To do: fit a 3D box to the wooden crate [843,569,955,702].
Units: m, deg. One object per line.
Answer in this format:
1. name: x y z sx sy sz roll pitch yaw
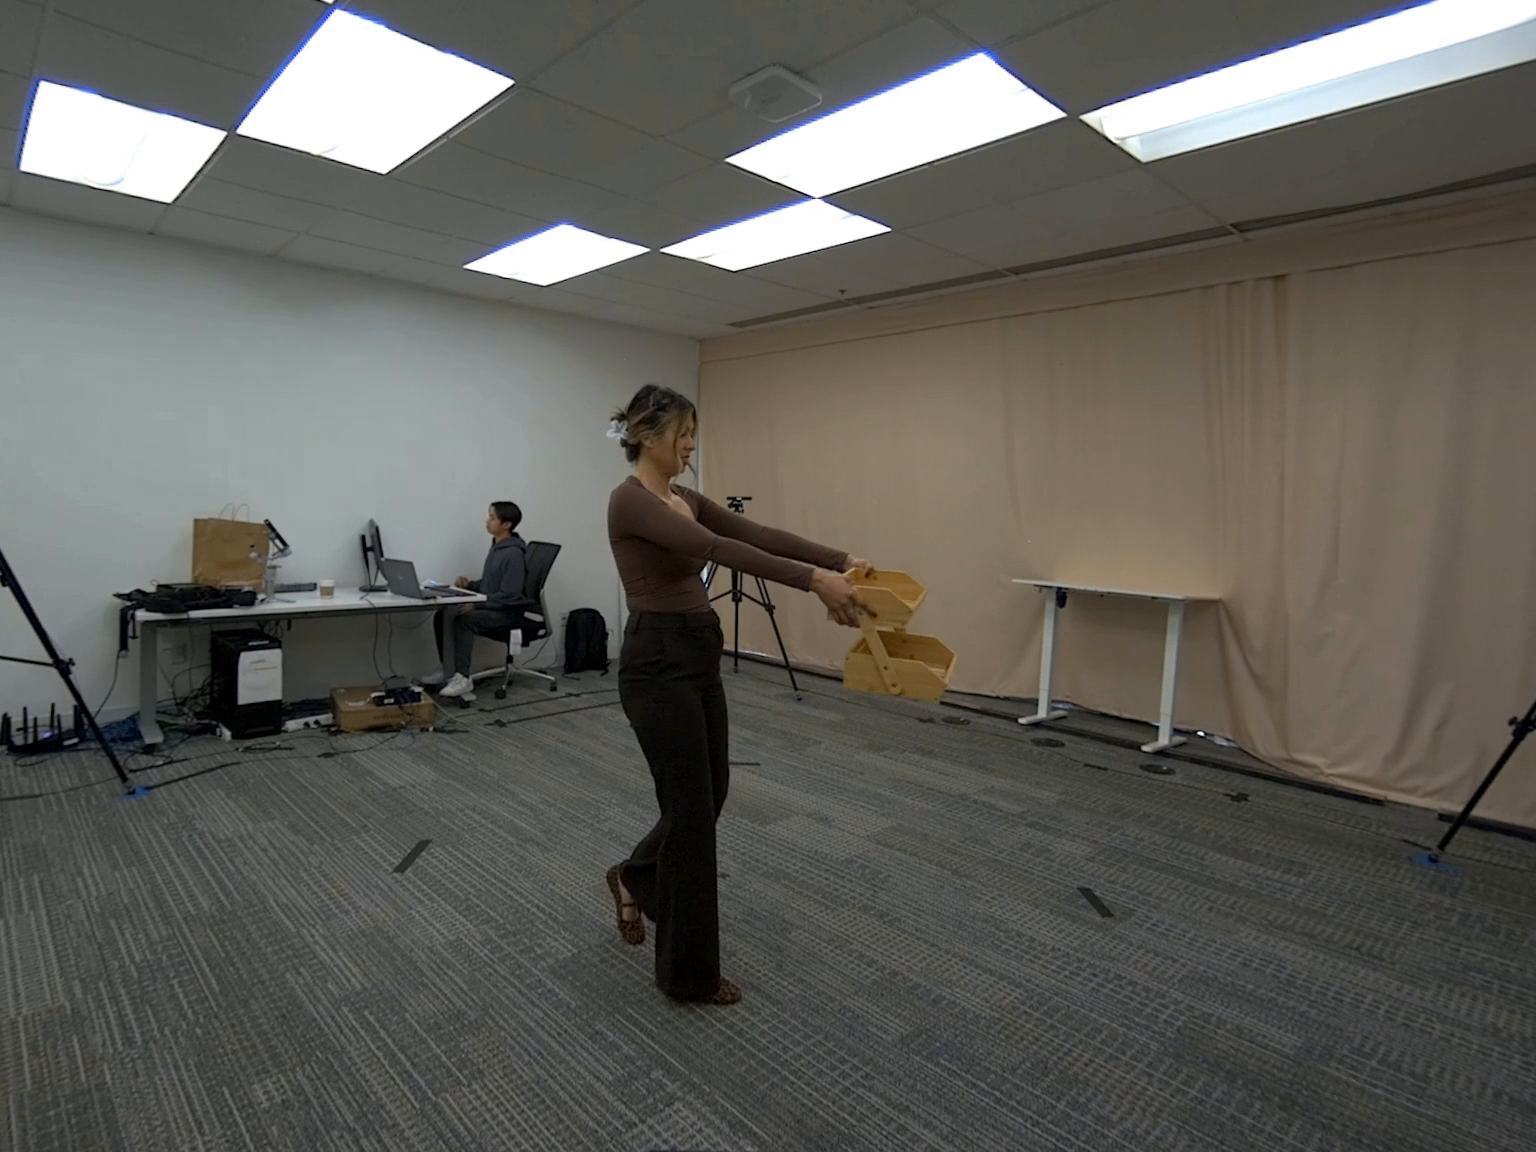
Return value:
1. wooden crate: 0.319 0.138 2.171 0.306 0.272 0.321 5 8 17
